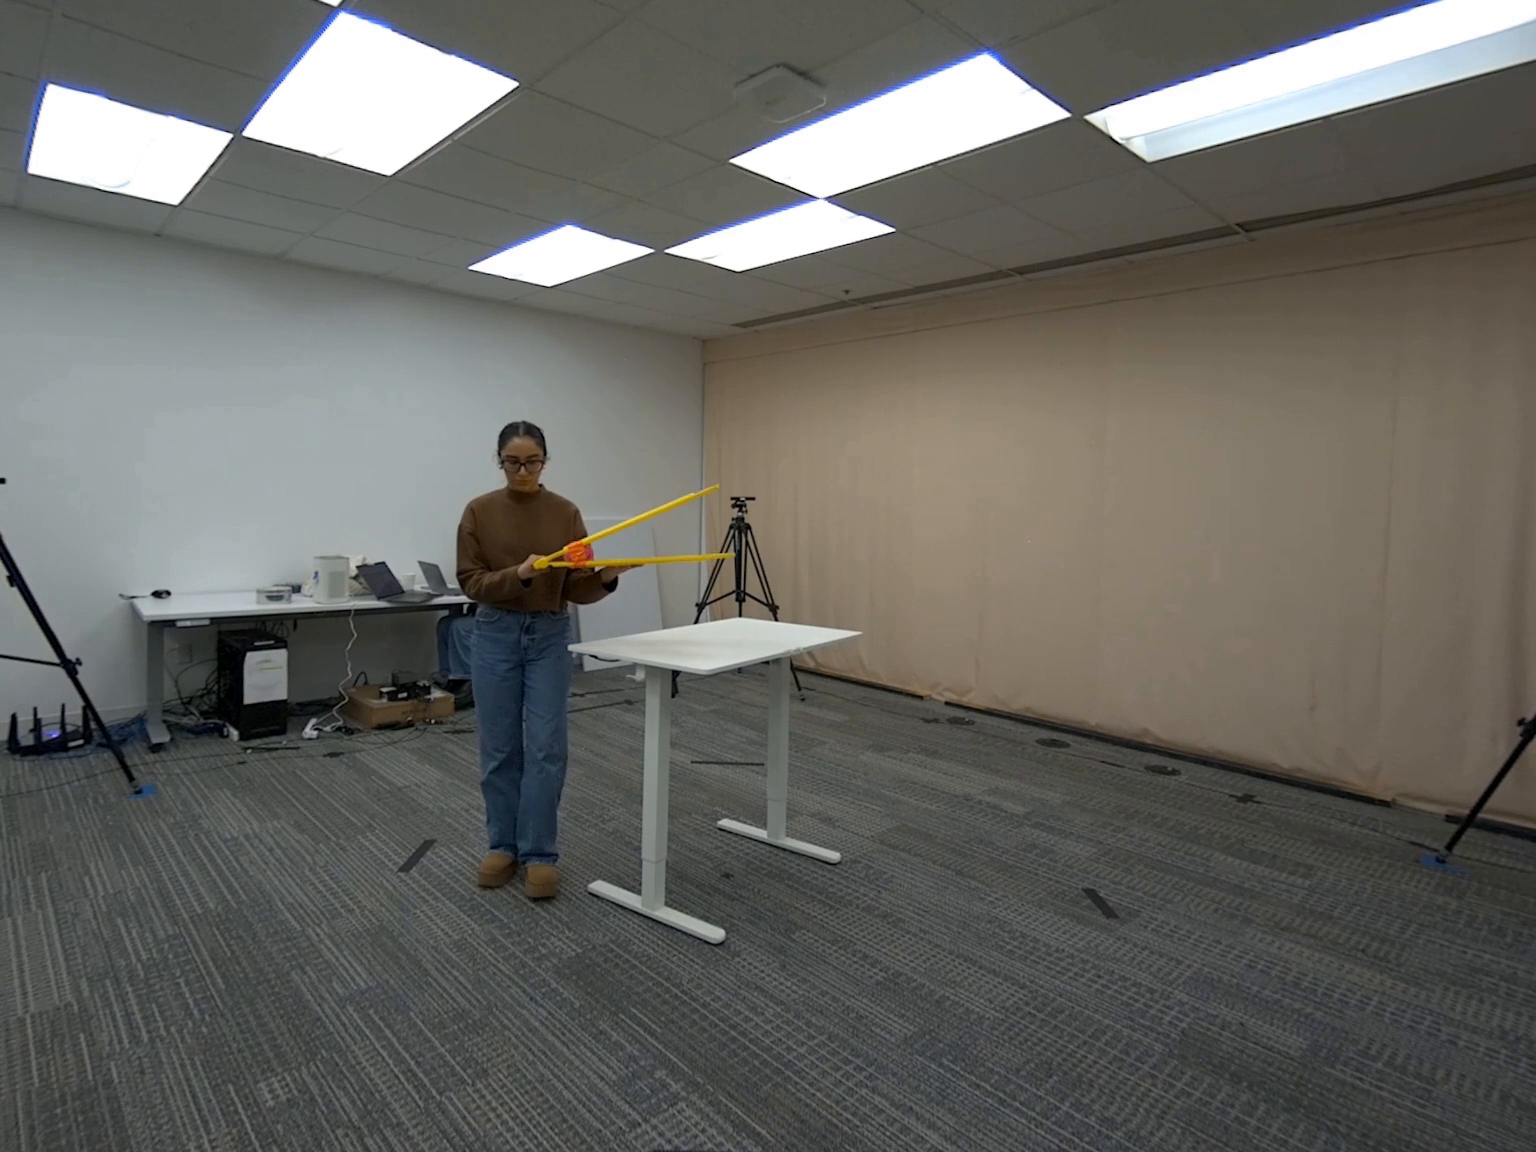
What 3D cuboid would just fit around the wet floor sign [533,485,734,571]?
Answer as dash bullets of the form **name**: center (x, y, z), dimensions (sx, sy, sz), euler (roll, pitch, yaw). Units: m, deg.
- **wet floor sign**: center (-0.476, -0.105, 2.837), dimensions (0.641, 0.289, 0.284), euler (-12, 1, -12)
